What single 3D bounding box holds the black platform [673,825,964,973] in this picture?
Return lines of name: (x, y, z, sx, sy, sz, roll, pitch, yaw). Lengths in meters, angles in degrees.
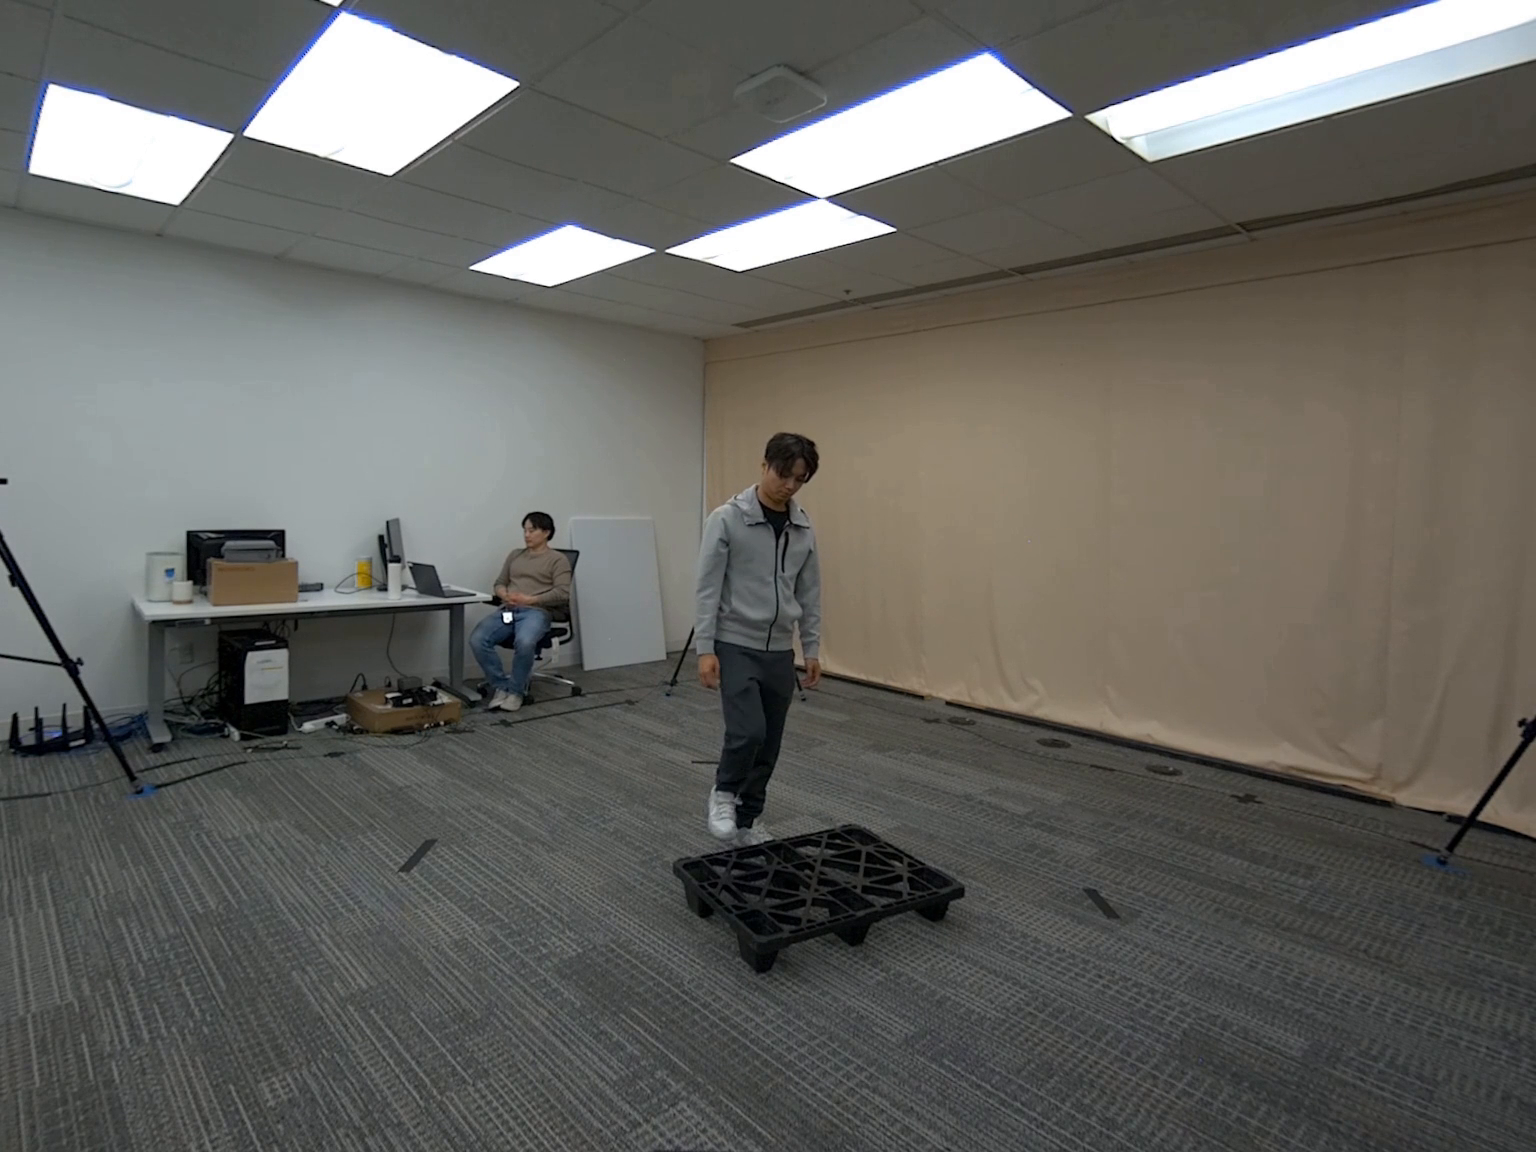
black platform: (0.148, 1.072, 2.842, 0.789, 0.143, 0.619, -2, 5, -30)
